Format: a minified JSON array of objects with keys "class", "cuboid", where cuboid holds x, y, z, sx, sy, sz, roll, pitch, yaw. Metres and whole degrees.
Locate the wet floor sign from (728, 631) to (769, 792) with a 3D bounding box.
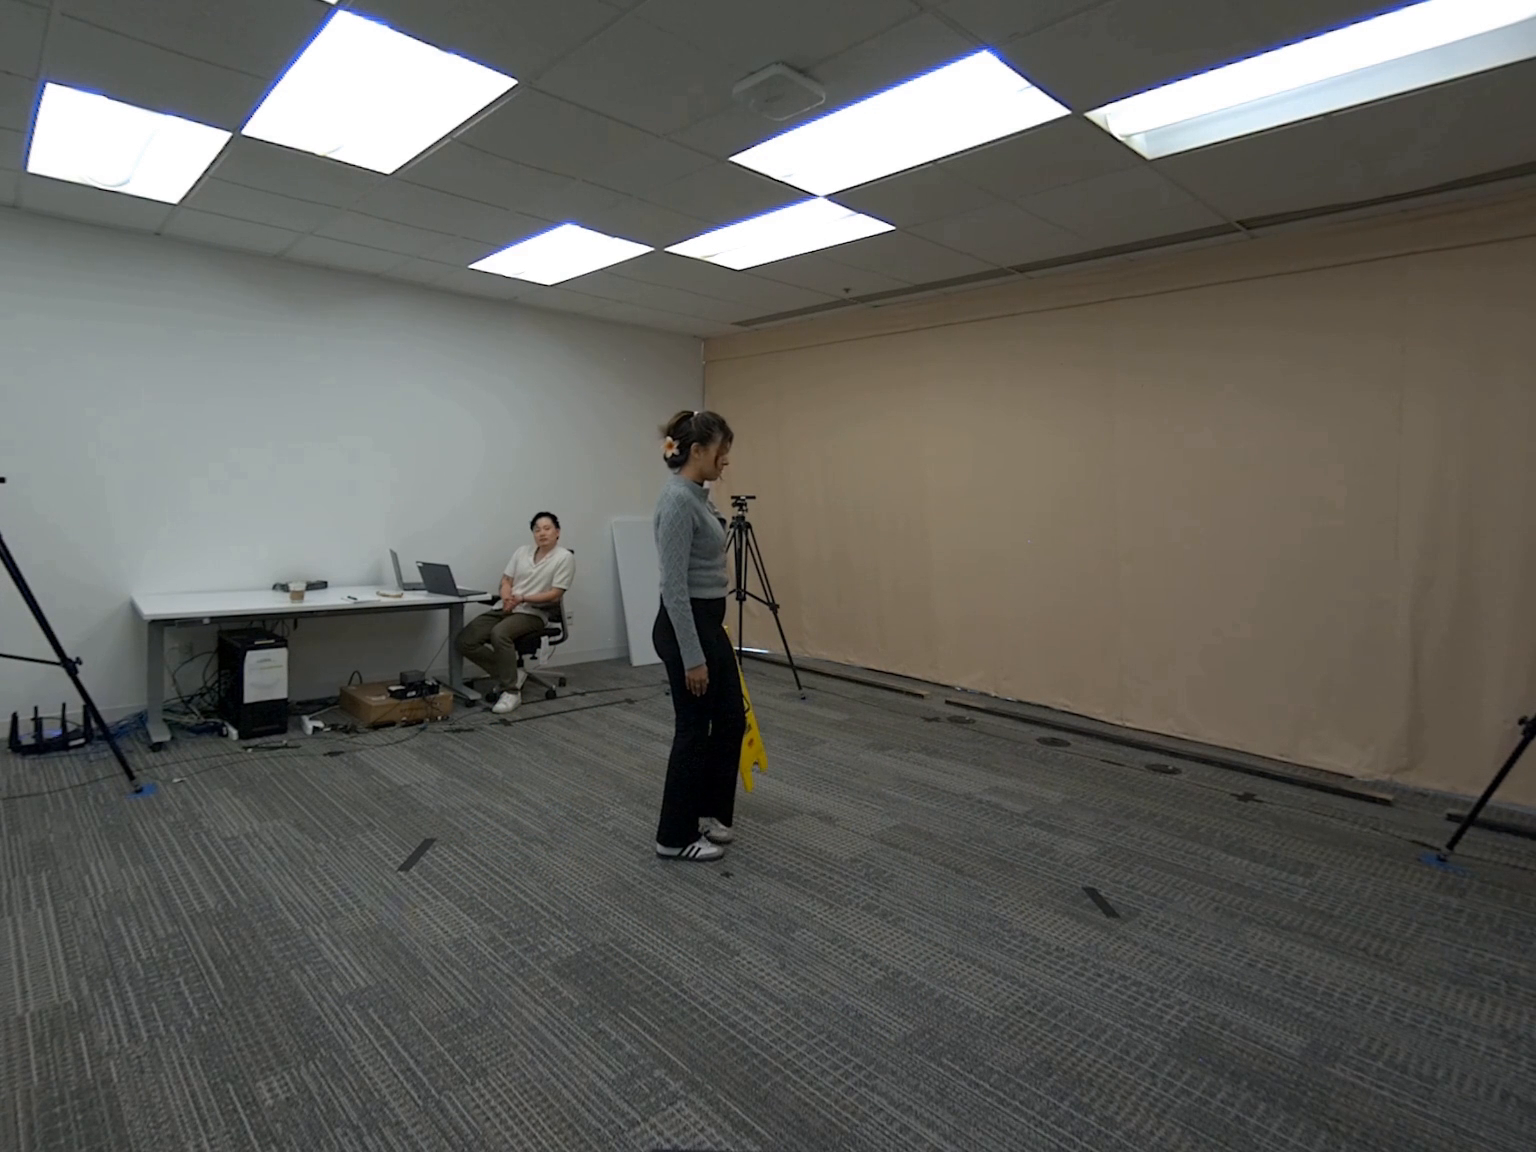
[{"class":"wet floor sign","cuboid":[-0.199,0.549,3.577,0.294,0.641,0.280,1,11,18]}]
